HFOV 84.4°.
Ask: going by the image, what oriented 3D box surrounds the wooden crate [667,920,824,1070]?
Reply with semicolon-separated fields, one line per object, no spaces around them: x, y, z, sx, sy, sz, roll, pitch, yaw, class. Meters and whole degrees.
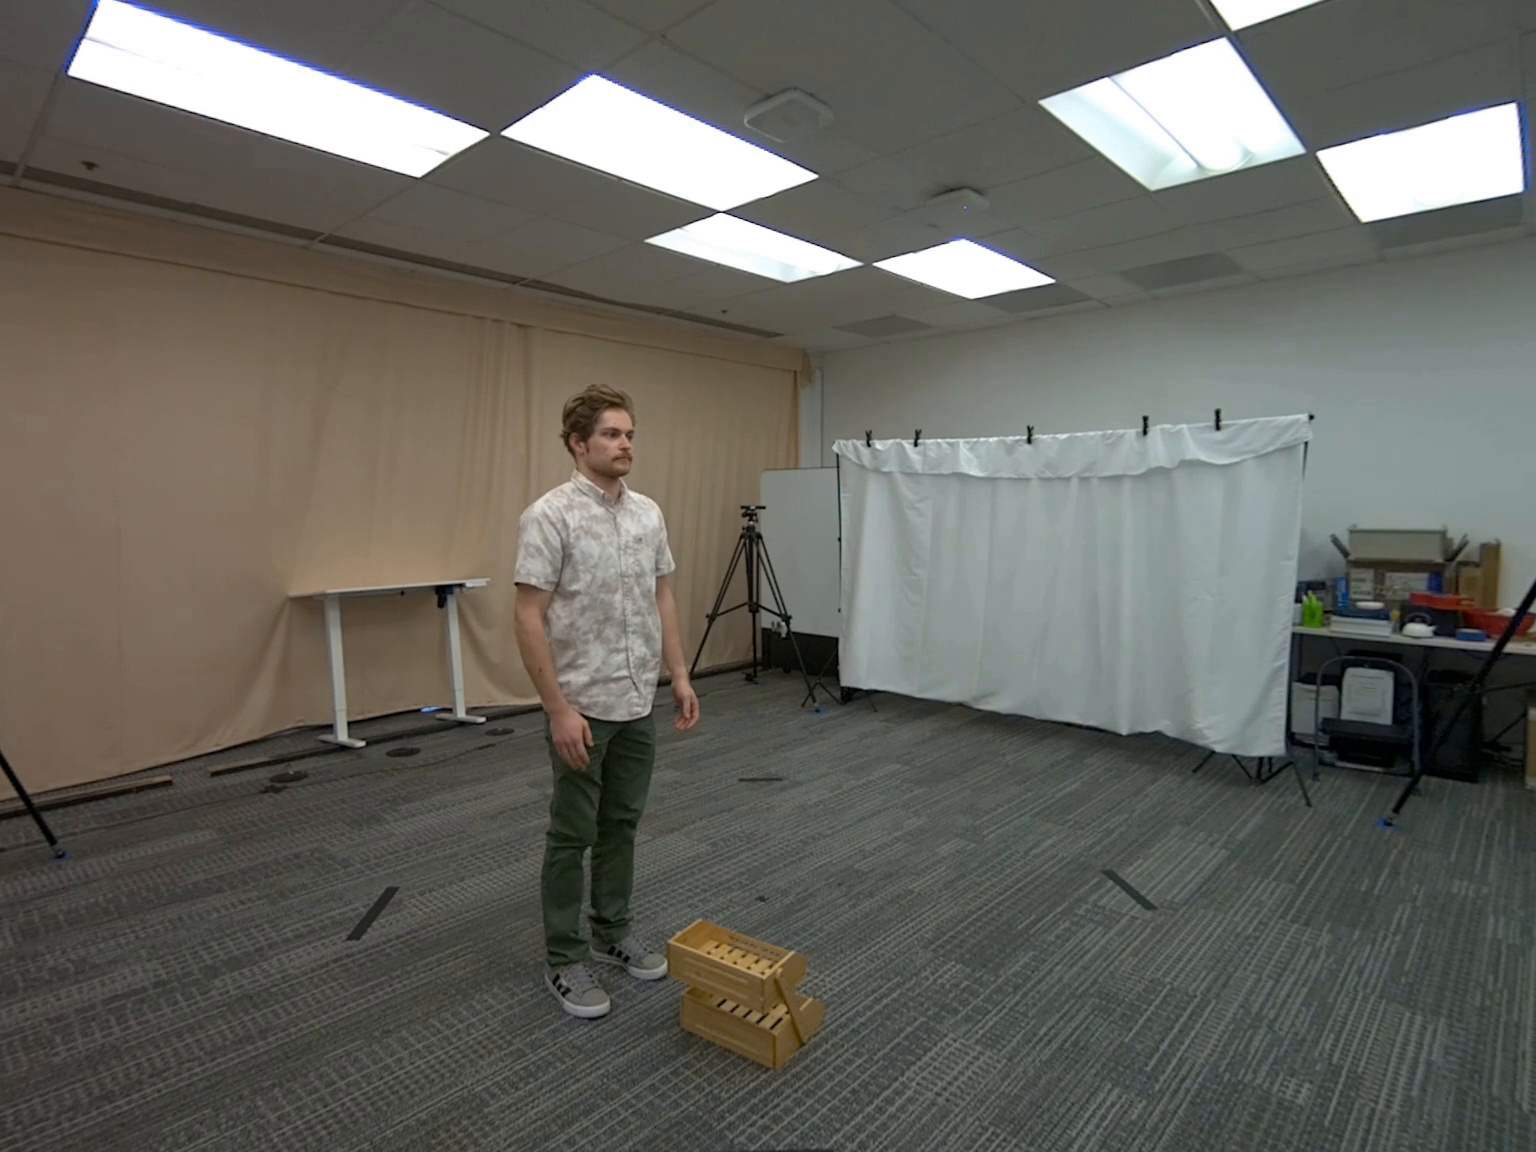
-0.050;1.074;2.229;0.334;0.272;0.294;3;6;34;wooden crate
